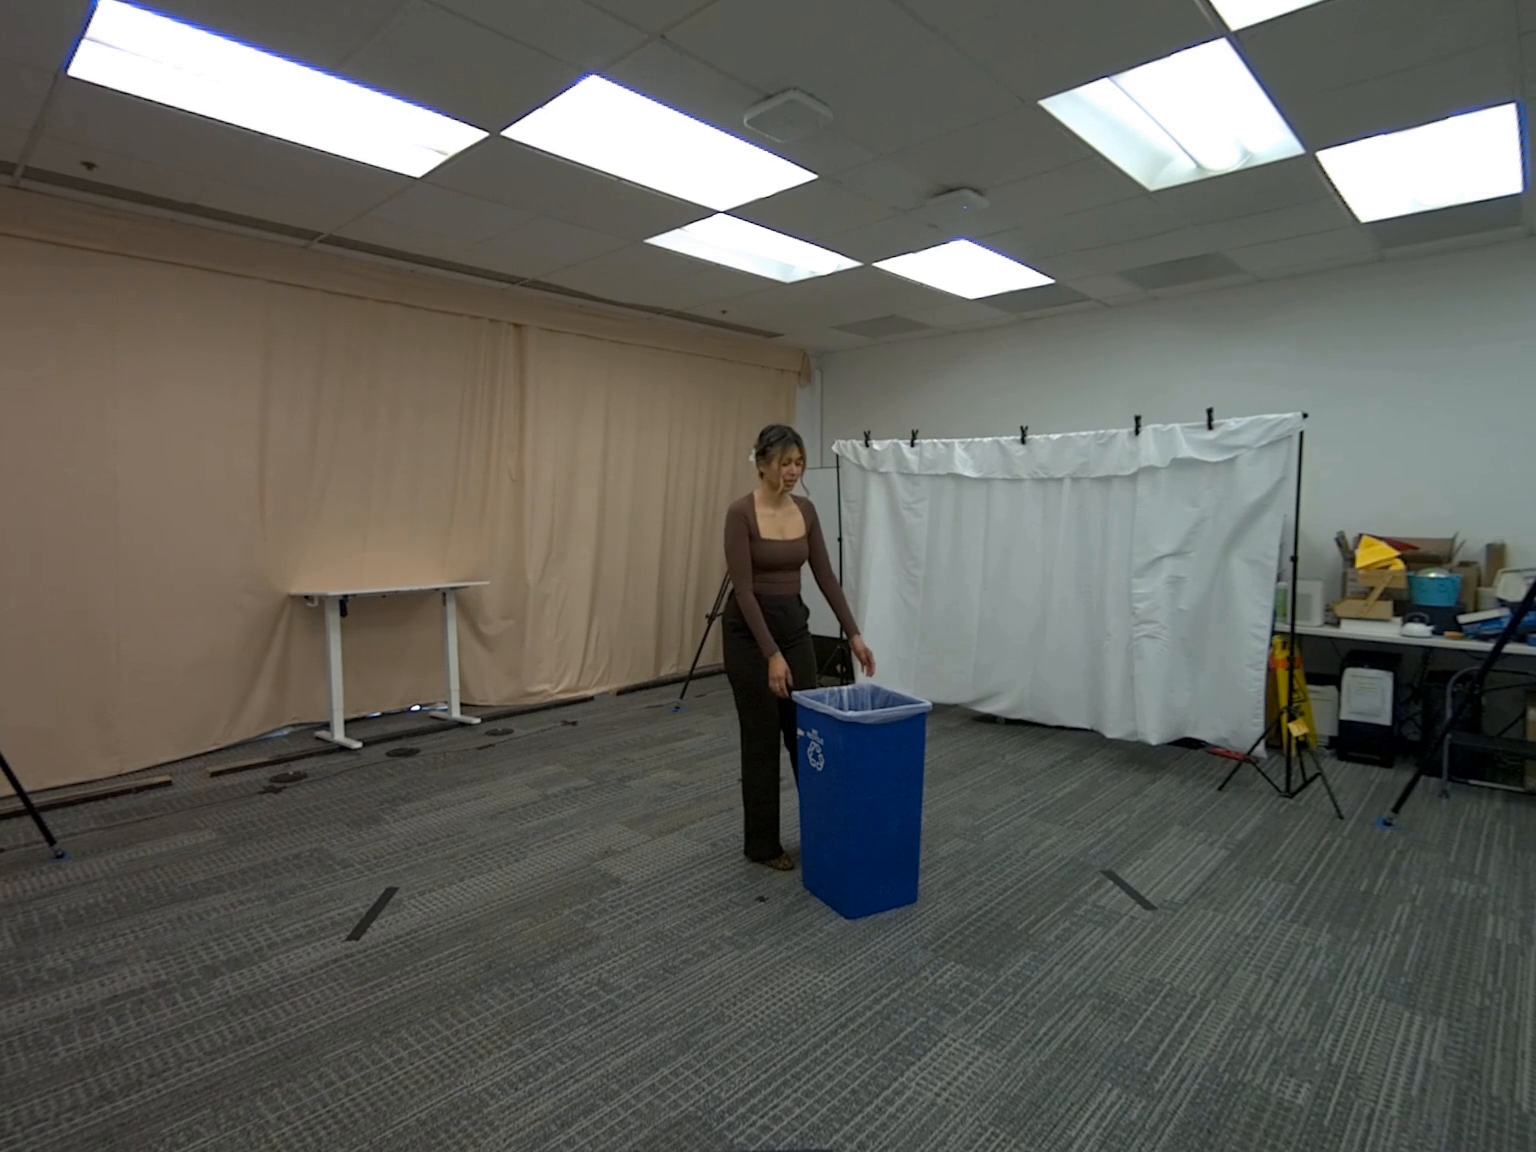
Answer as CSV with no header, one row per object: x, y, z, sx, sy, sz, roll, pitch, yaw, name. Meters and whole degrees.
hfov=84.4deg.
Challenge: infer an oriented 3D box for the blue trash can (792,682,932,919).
0.338,0.783,2.996,0.368,0.712,0.385,-2,4,-29,blue trash can
